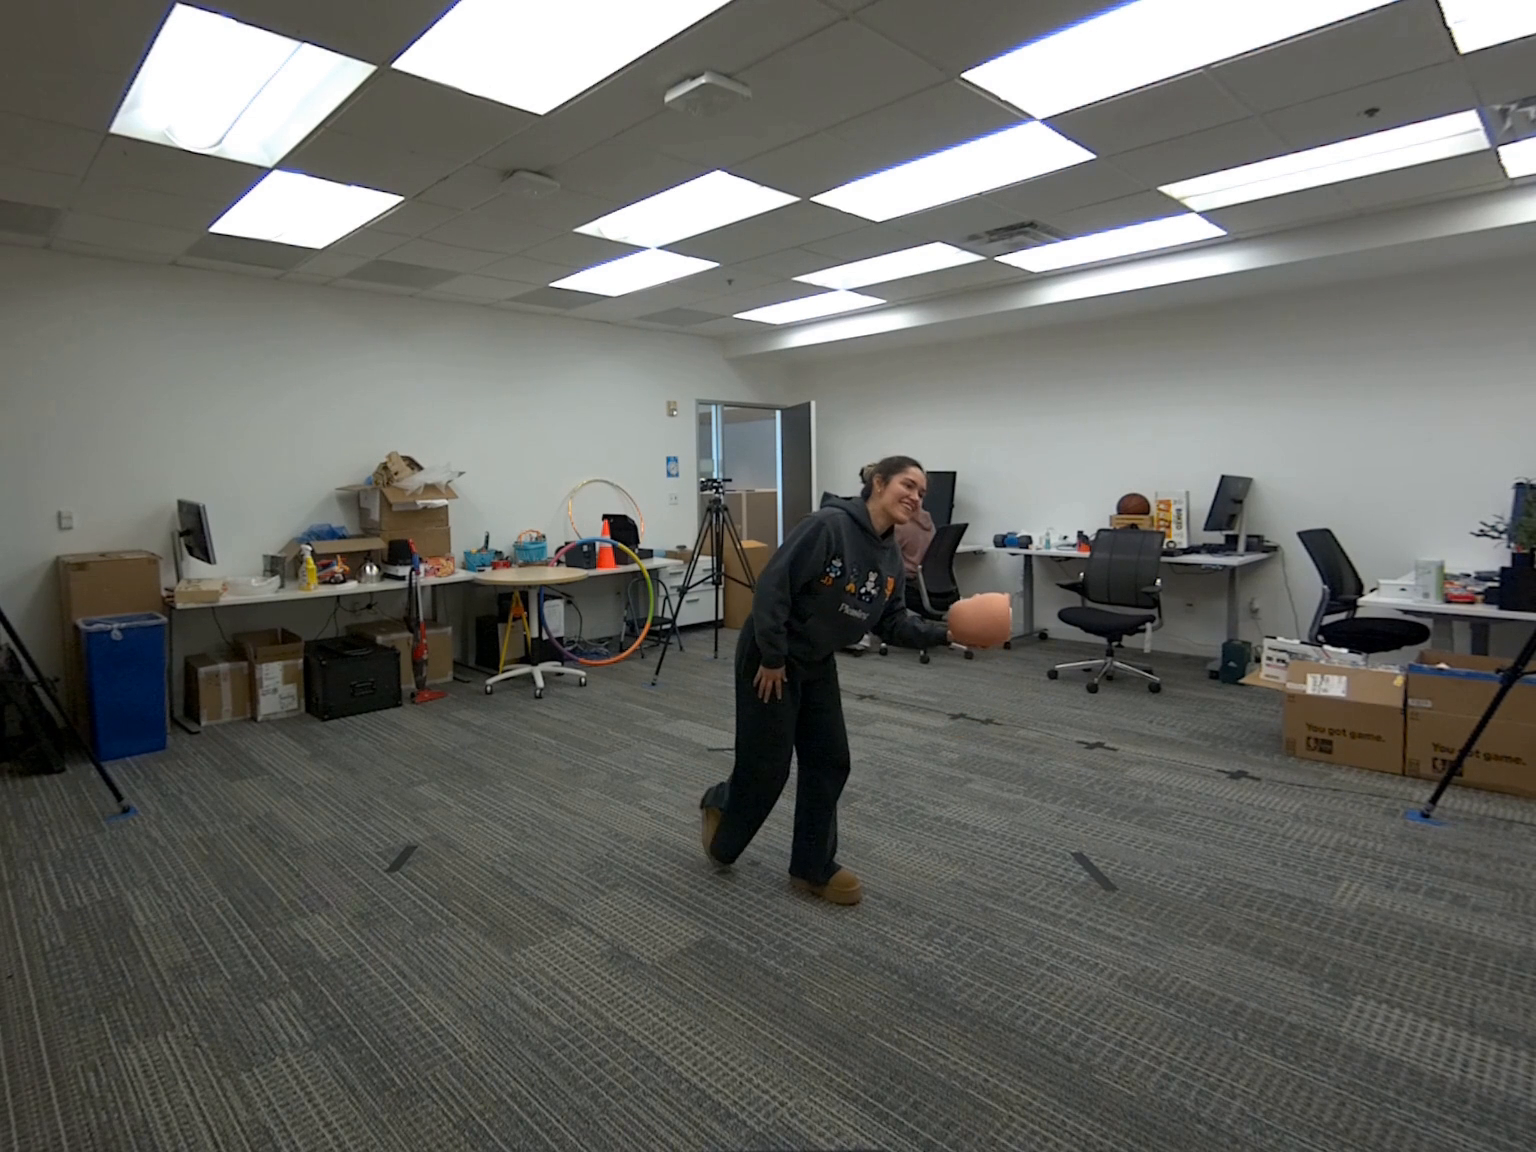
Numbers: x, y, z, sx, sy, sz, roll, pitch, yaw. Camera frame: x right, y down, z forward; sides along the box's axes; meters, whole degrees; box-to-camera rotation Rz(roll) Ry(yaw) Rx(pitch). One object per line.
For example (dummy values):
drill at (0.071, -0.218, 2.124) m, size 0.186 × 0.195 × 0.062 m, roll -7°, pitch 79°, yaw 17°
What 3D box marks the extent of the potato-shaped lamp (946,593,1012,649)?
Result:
potato-shaped lamp at (0.672, 0.139, 2.743) m, size 0.201 × 0.159 × 0.174 m, roll 2°, pitch 41°, yaw 17°
